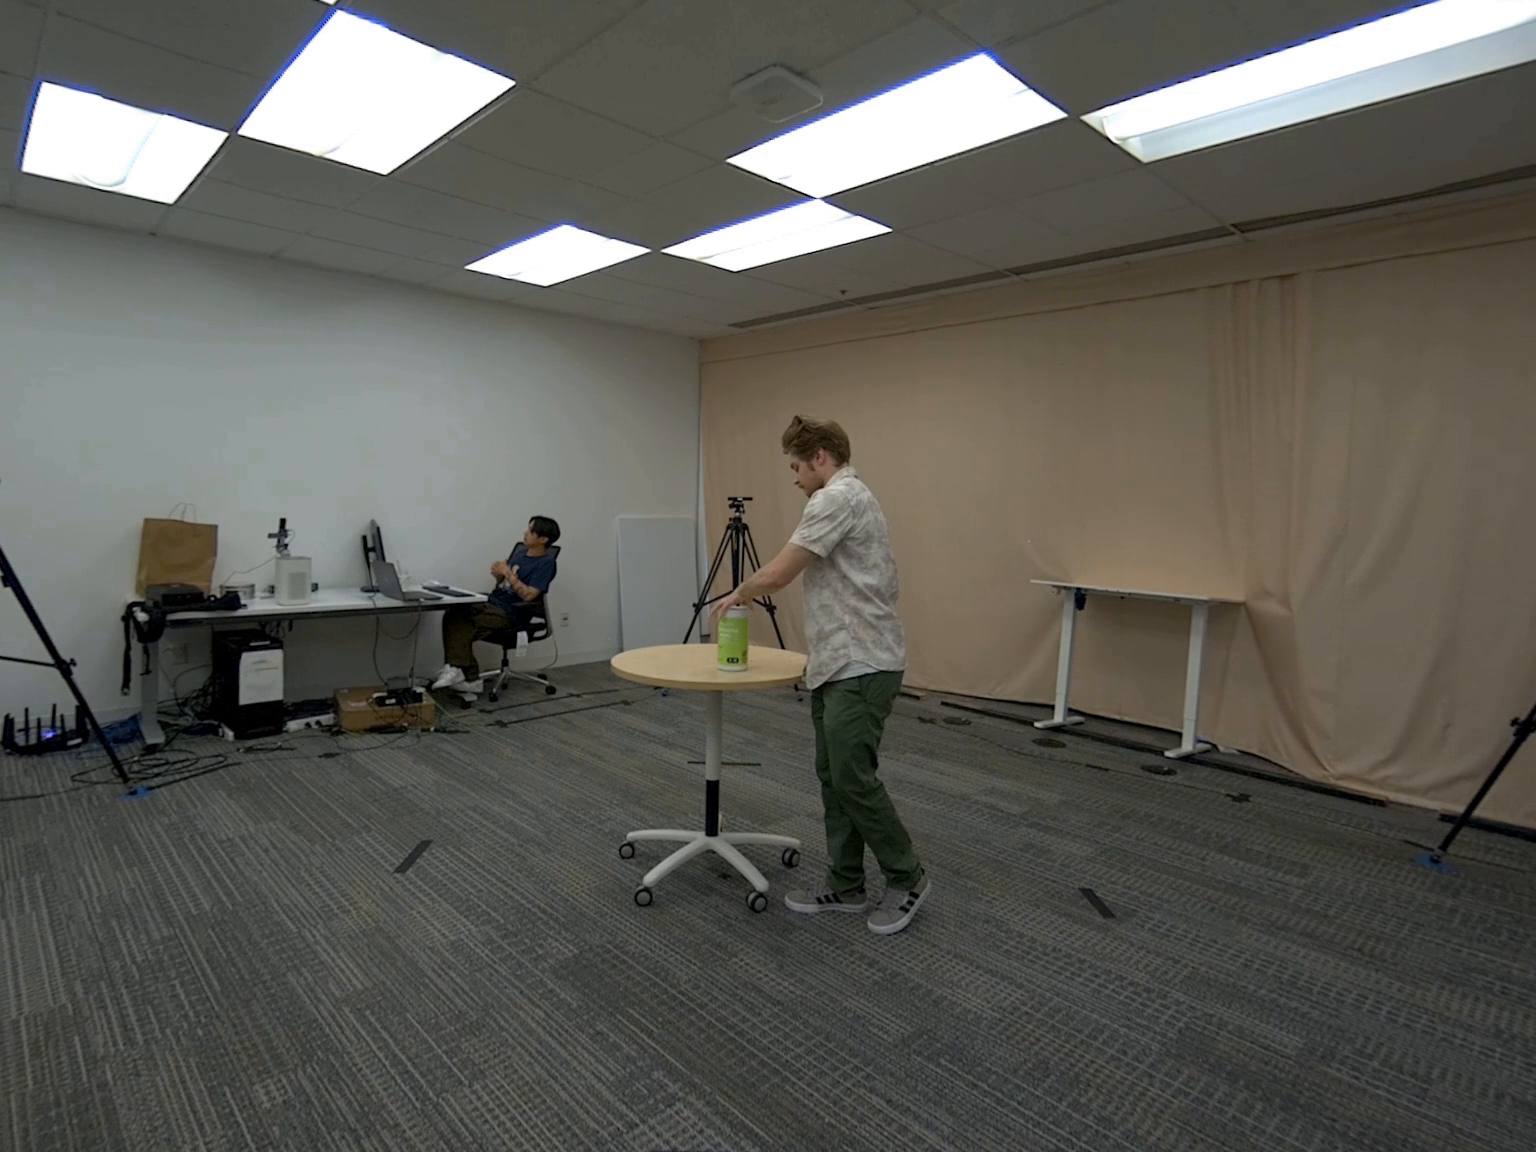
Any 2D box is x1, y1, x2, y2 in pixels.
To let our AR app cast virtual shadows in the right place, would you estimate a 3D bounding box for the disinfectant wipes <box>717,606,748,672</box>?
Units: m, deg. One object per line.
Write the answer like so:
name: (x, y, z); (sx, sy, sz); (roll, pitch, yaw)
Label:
disinfectant wipes: (-0.125, 0.218, 2.956); (0.118, 0.216, 0.118); (0, 6, -1)
